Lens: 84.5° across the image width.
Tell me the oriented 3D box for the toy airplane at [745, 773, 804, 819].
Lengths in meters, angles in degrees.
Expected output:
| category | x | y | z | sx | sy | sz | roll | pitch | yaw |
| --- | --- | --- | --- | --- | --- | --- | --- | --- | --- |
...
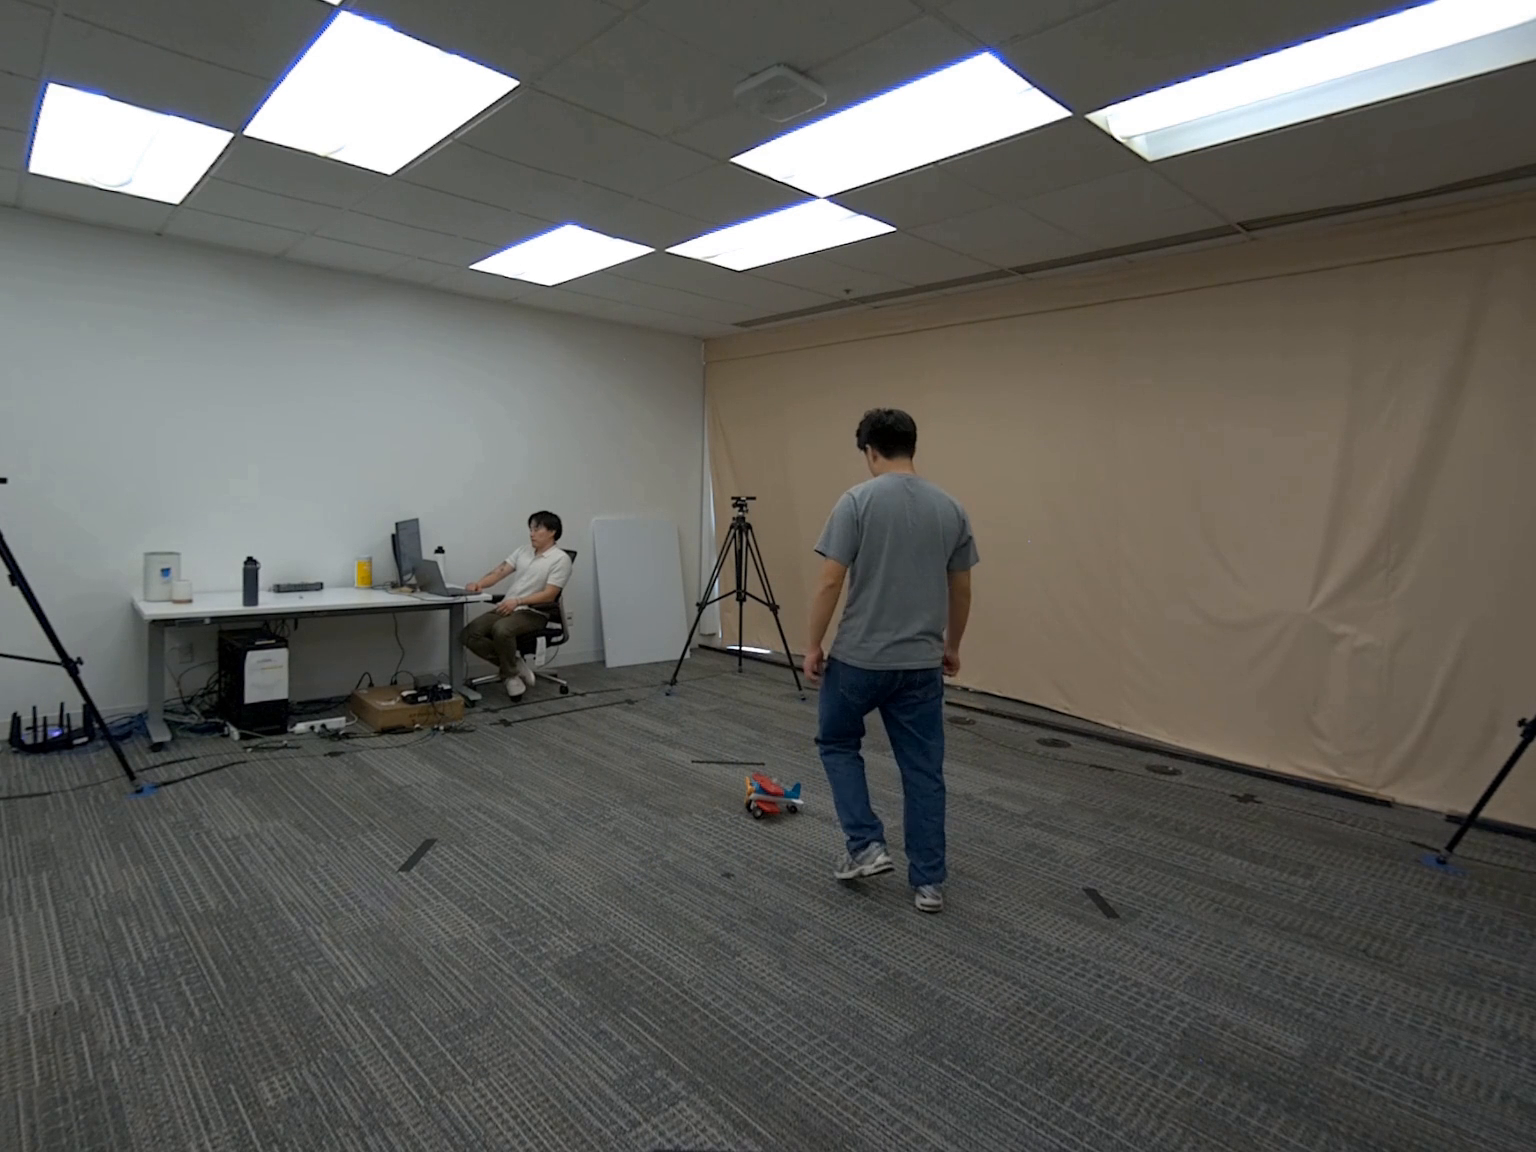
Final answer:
| category | x | y | z | sx | sy | sz | roll | pitch | yaw |
| --- | --- | --- | --- | --- | --- | --- | --- | --- | --- |
| toy airplane | 0.007 | 0.983 | 3.757 | 0.257 | 0.156 | 0.253 | 6 | 6 | 43 |
